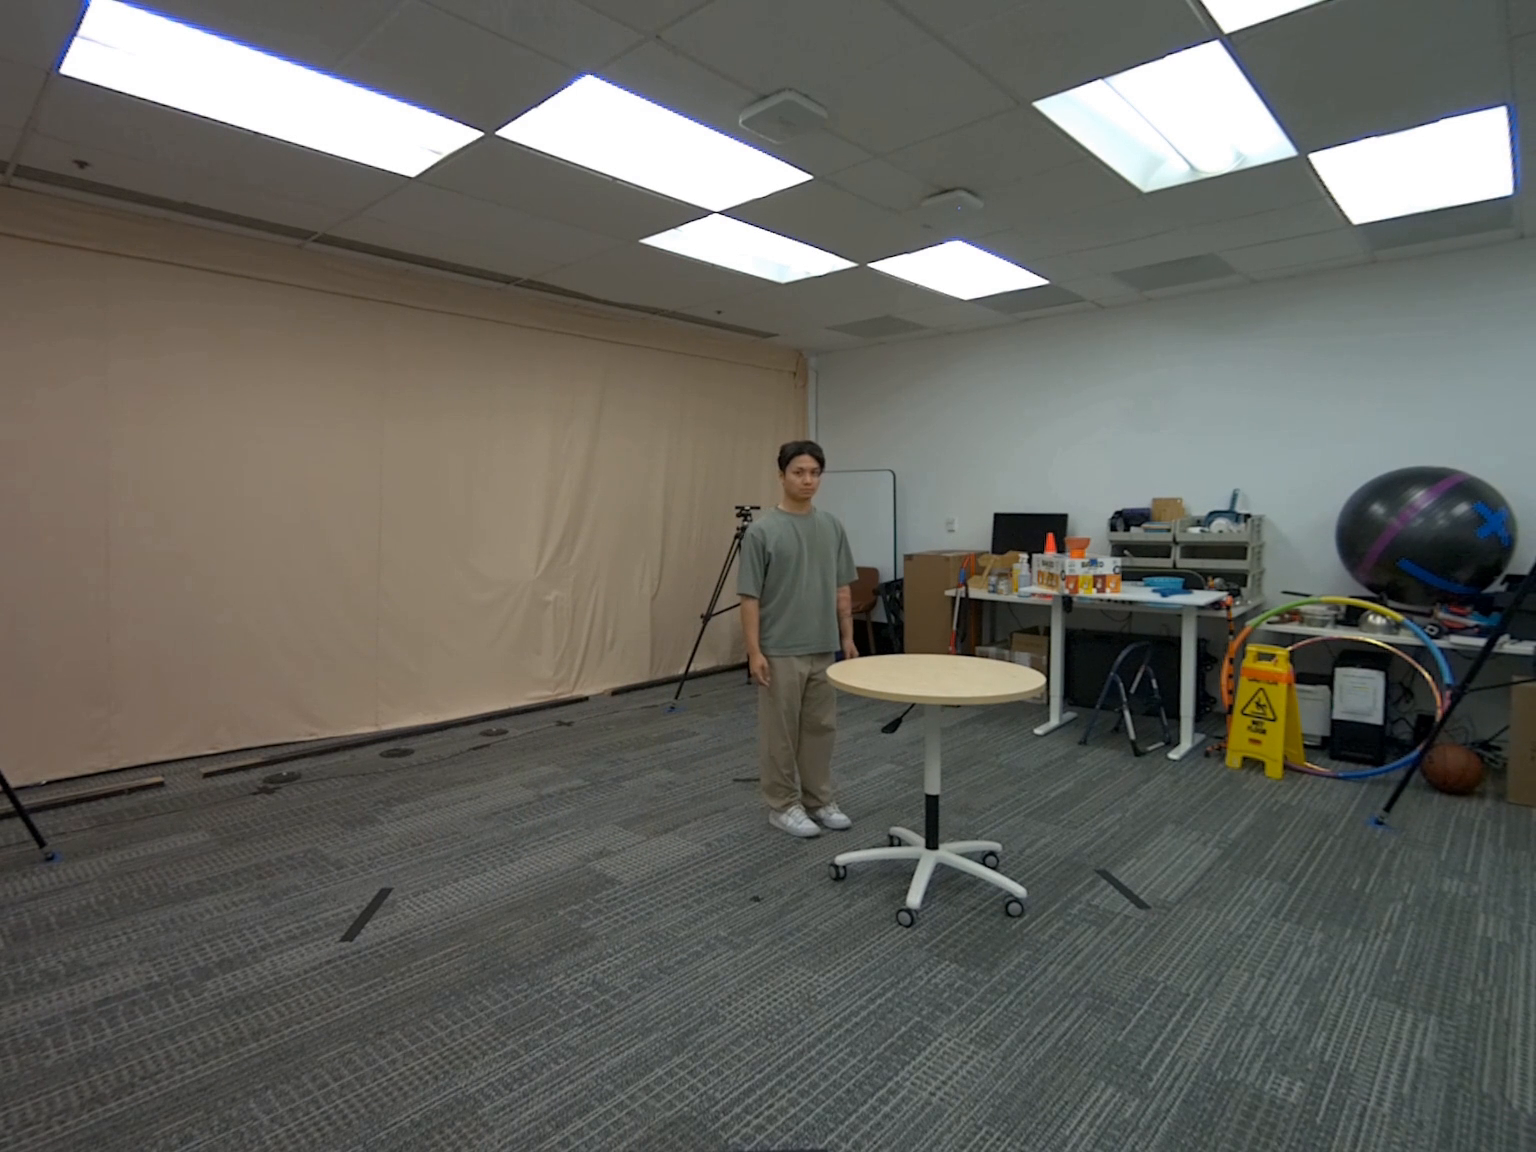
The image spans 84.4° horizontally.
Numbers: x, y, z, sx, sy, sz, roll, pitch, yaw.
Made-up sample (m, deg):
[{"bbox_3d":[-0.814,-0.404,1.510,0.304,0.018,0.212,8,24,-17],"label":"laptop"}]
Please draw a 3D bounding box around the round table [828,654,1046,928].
[{"bbox_3d":[0.590,0.743,3.060,0.784,0.785,0.788,0,3,-2],"label":"round table"}]
